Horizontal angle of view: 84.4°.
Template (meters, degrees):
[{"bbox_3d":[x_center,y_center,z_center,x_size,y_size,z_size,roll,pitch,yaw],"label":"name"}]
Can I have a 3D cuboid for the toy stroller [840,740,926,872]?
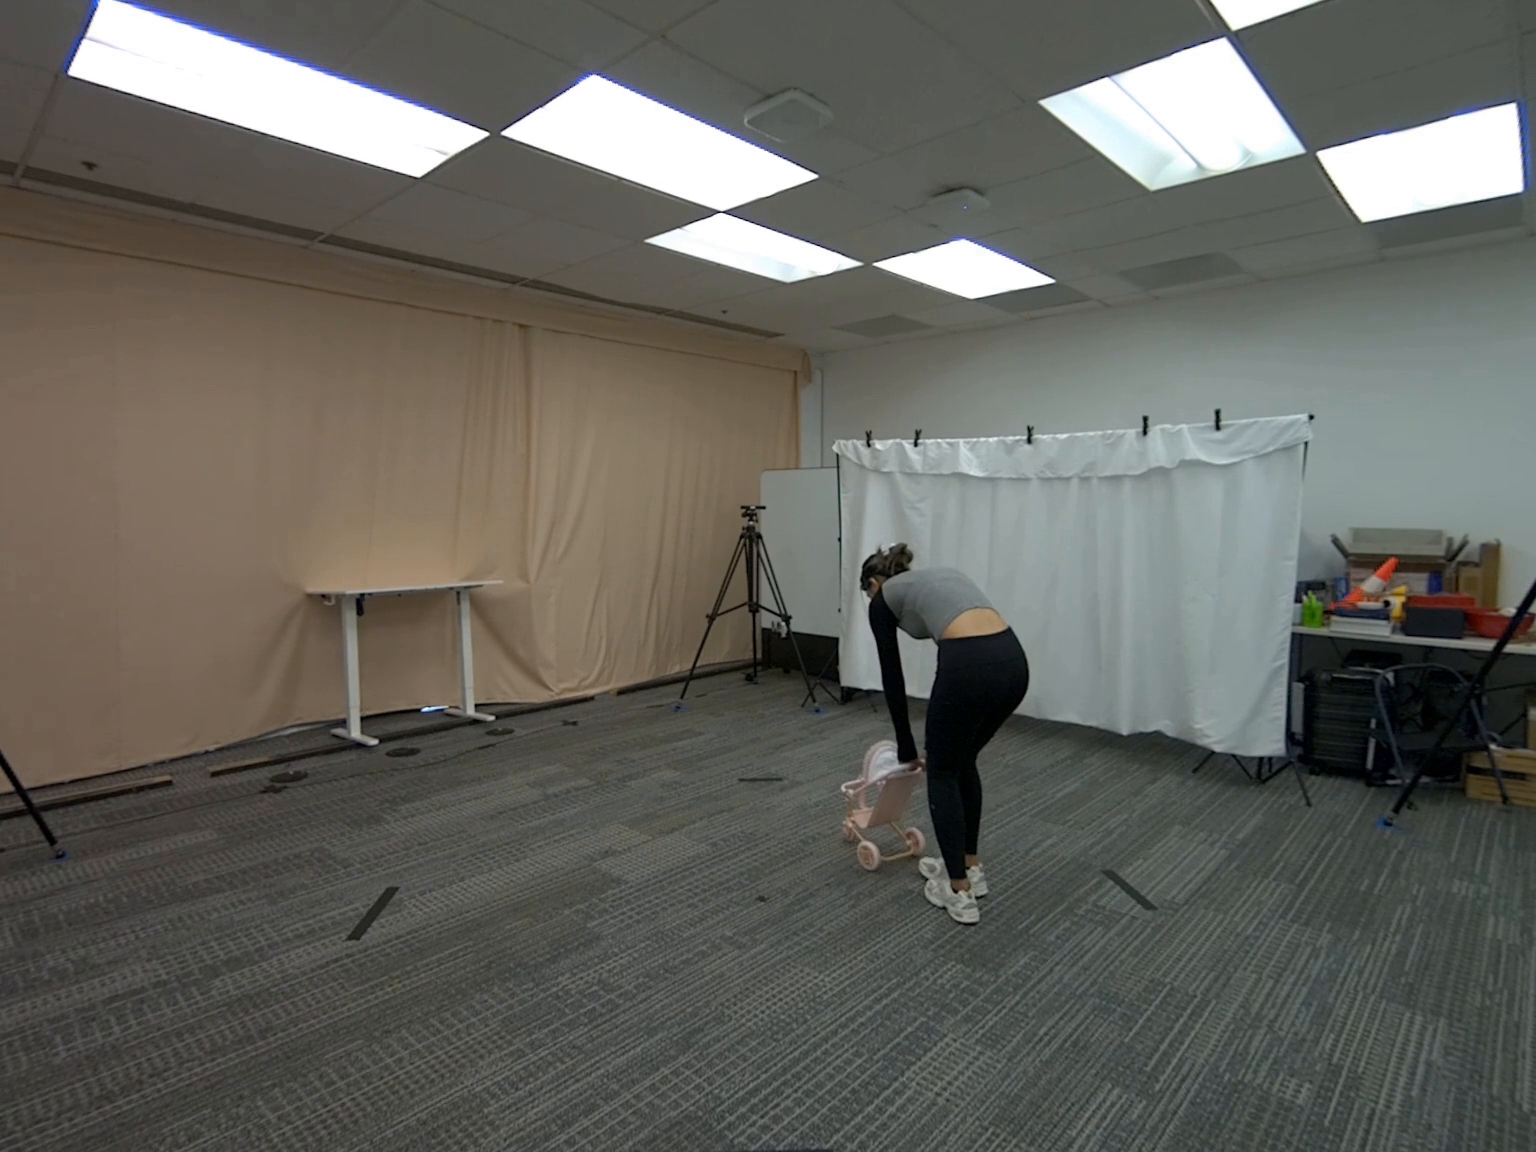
[{"bbox_3d":[0.444,0.884,3.336,0.274,0.531,0.353,-1,18,-32],"label":"toy stroller"}]
